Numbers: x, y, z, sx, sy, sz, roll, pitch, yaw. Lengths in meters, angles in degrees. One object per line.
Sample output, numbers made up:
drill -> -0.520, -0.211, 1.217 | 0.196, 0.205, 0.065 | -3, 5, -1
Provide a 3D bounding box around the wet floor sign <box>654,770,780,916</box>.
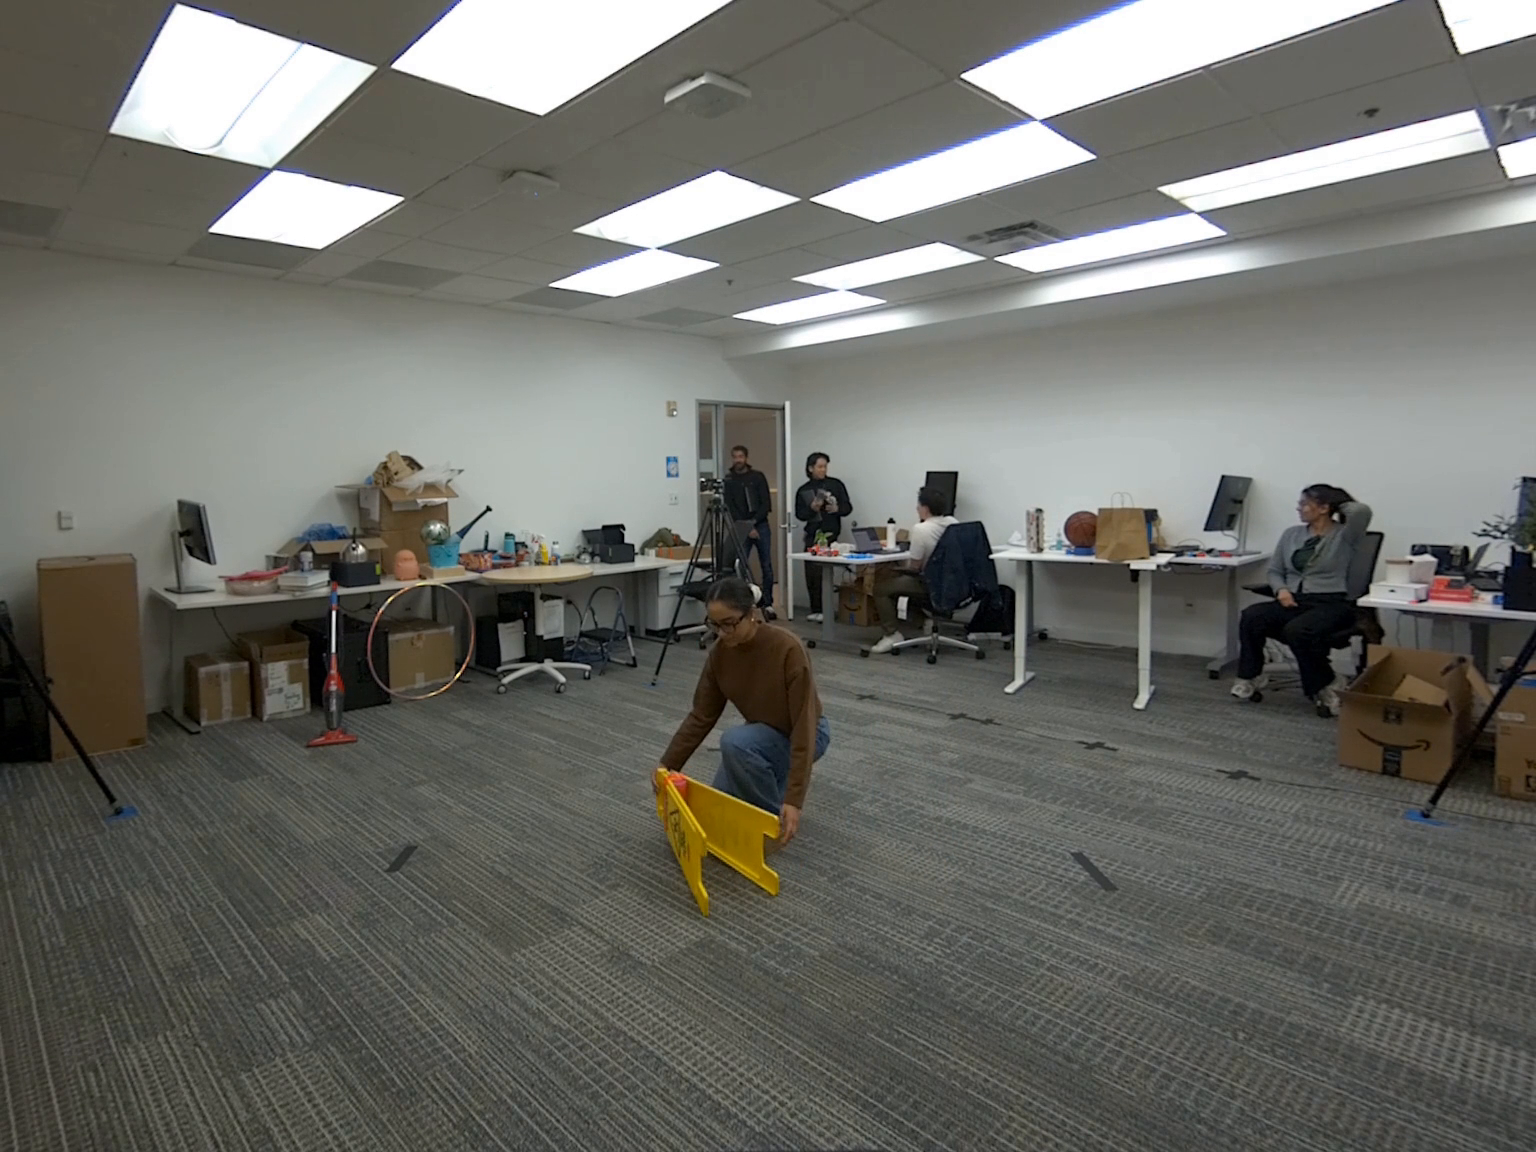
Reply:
wet floor sign -> -0.253, 0.893, 3.051 | 0.283, 0.280, 0.666 | -4, 11, -30
